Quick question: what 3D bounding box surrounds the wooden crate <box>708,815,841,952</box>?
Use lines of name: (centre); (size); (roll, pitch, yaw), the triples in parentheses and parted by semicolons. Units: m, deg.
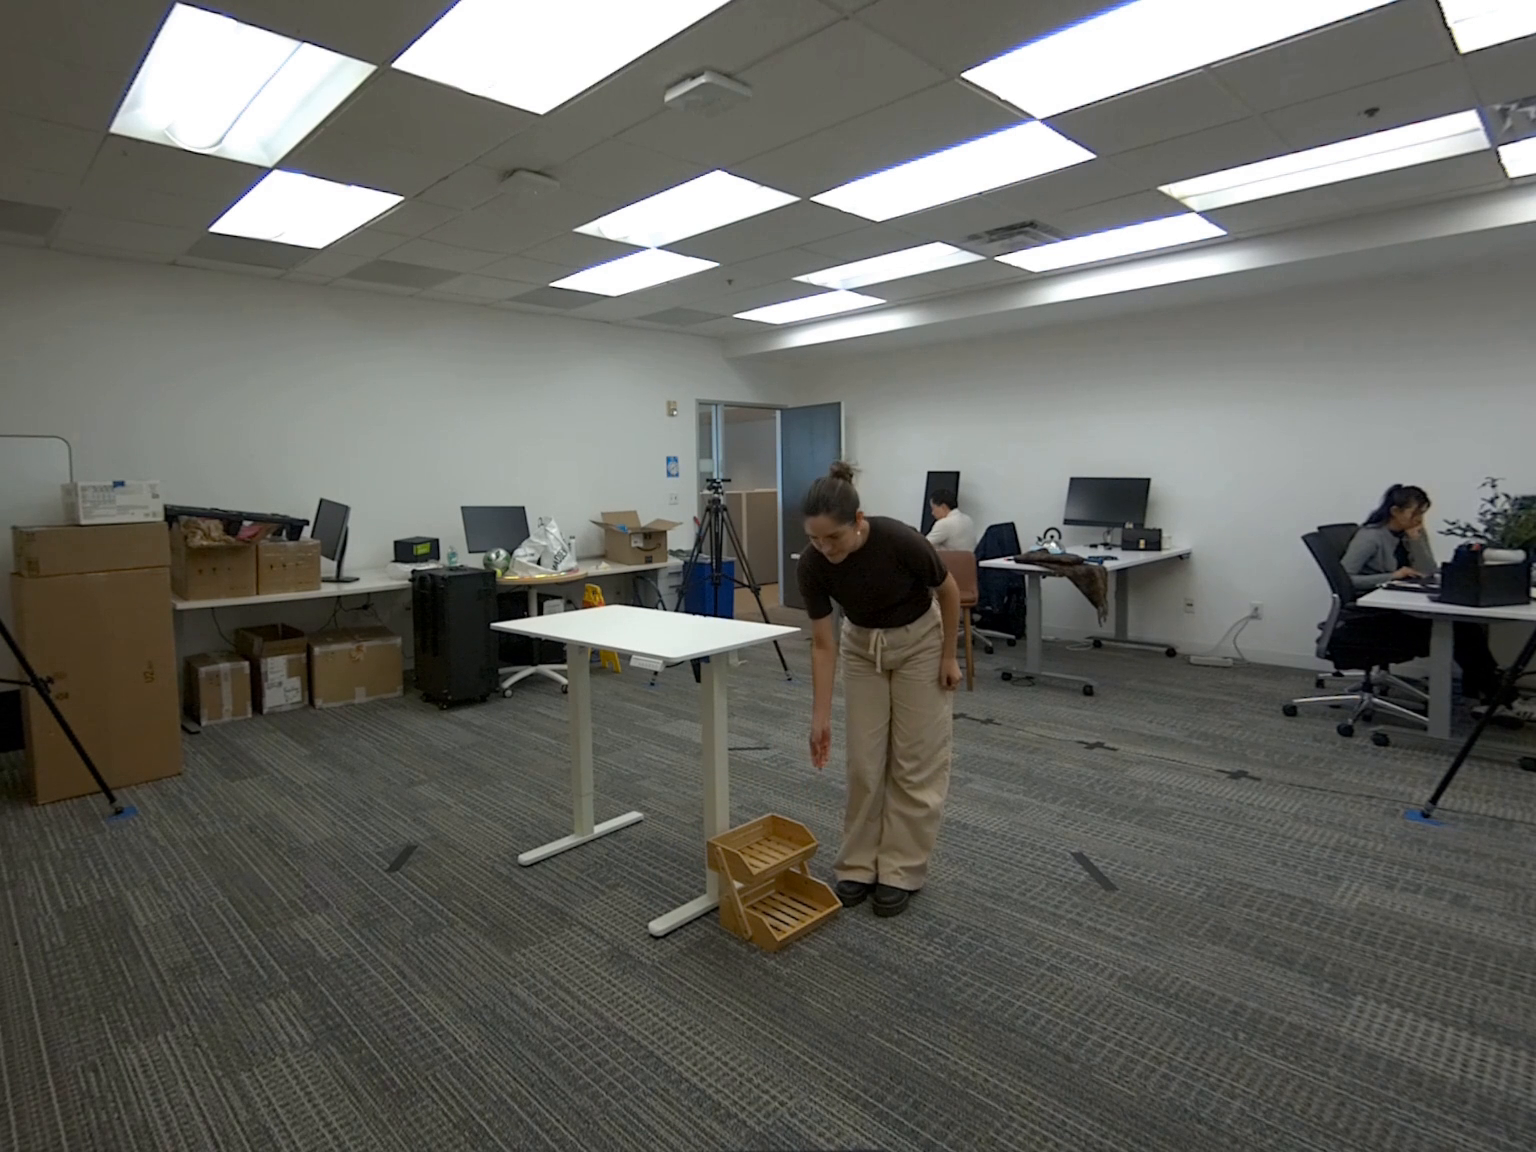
wooden crate: (0.026, 0.958, 2.703); (0.311, 0.272, 0.316); (4, 7, 44)
